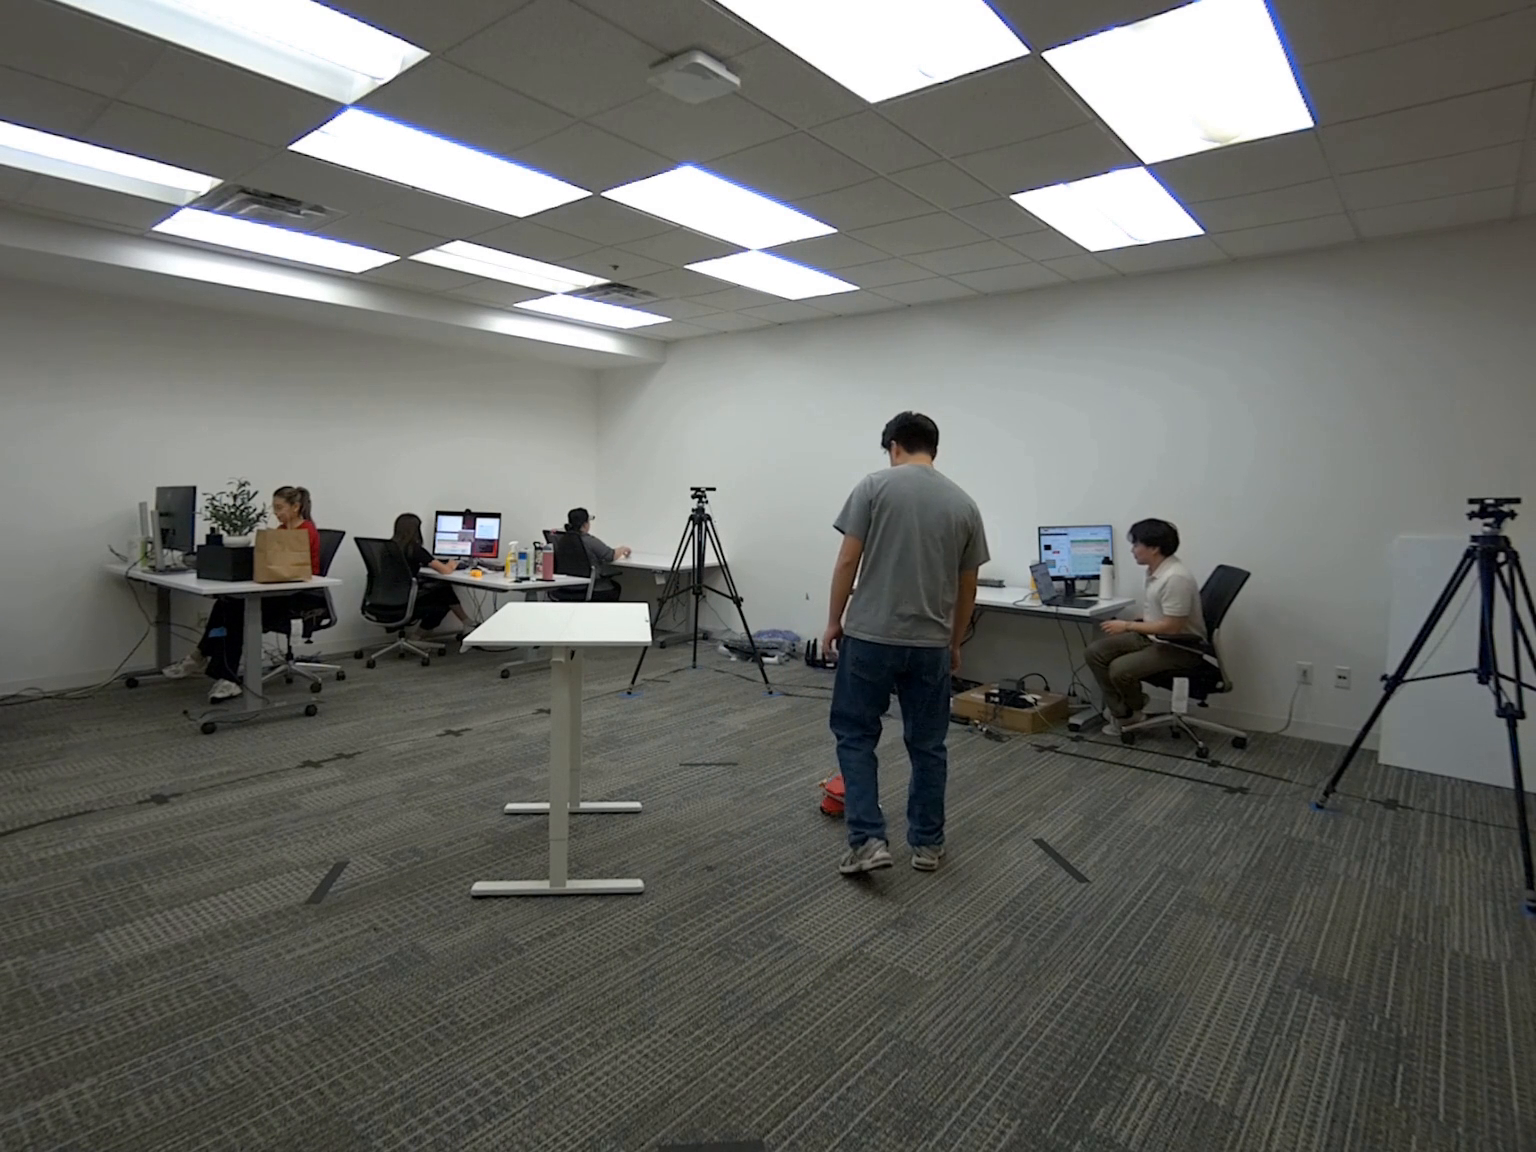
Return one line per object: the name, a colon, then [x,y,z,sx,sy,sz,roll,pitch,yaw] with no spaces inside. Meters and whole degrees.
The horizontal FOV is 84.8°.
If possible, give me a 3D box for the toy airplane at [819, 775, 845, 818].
toy airplane: [0.347,0.948,3.660,0.260,0.156,0.251,-1,5,4]
